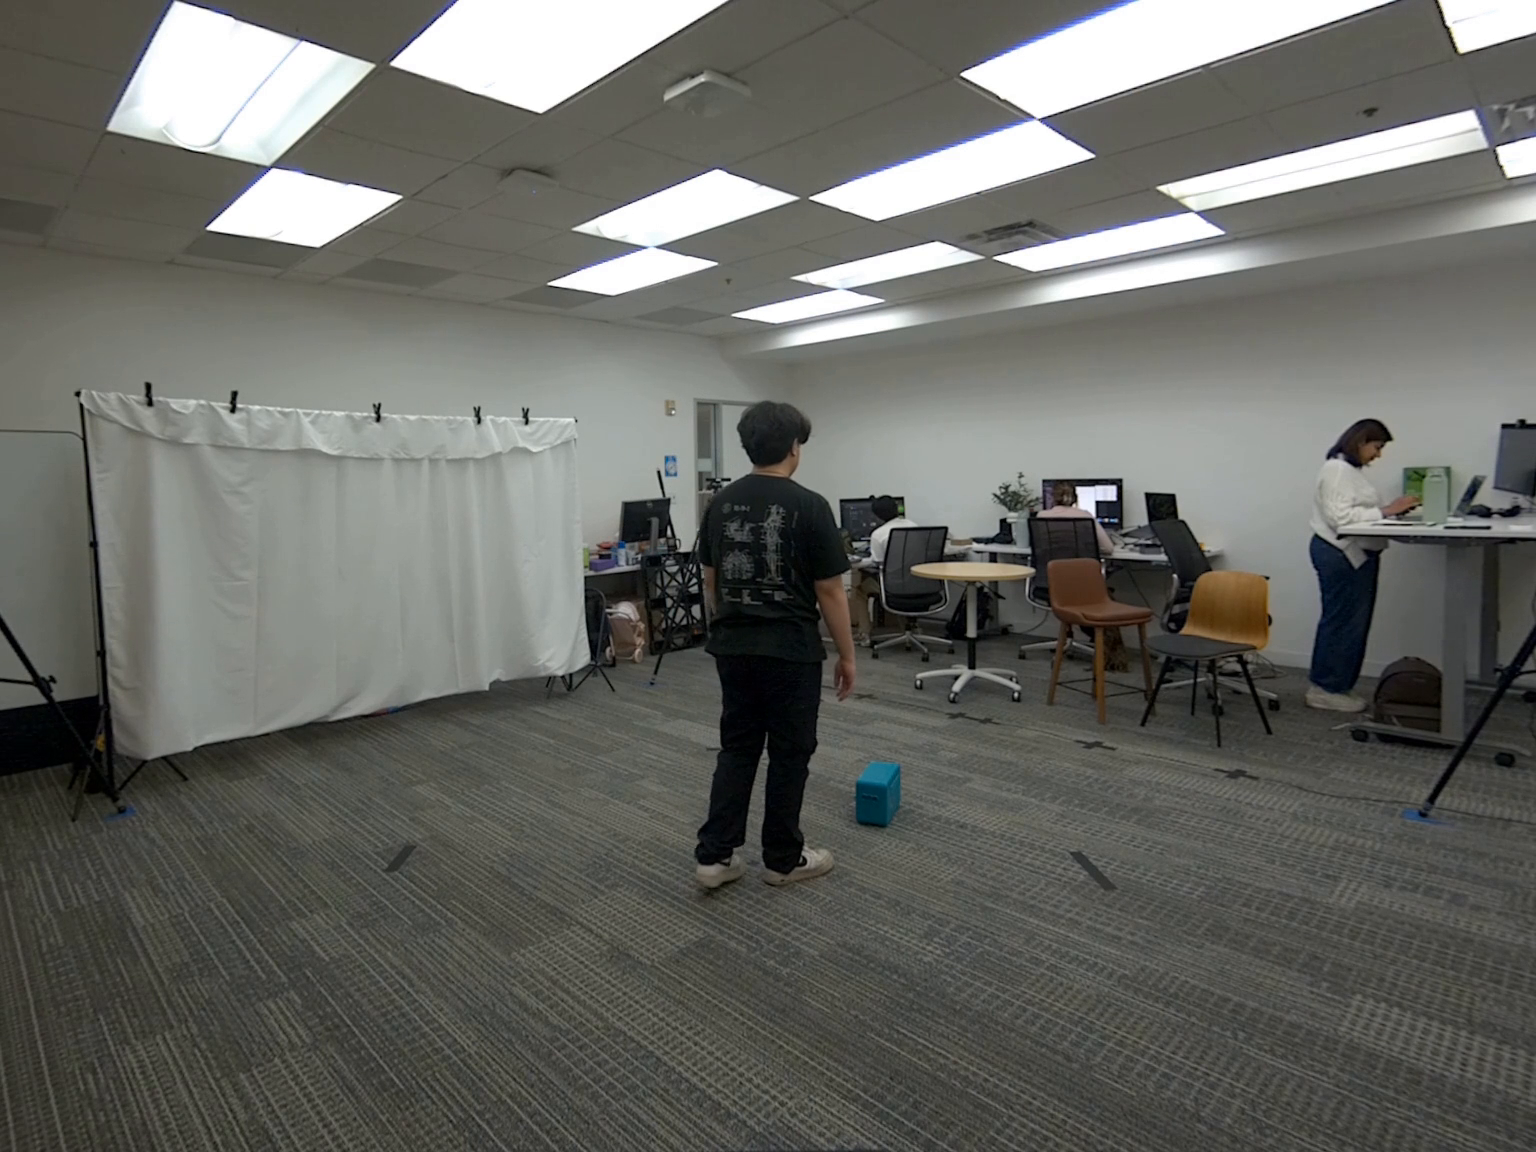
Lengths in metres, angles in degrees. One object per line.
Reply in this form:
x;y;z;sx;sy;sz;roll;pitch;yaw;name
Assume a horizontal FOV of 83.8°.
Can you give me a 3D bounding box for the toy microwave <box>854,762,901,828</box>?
0.452;0.894;3.531;0.155;0.183;0.281;1;5;21;toy microwave
